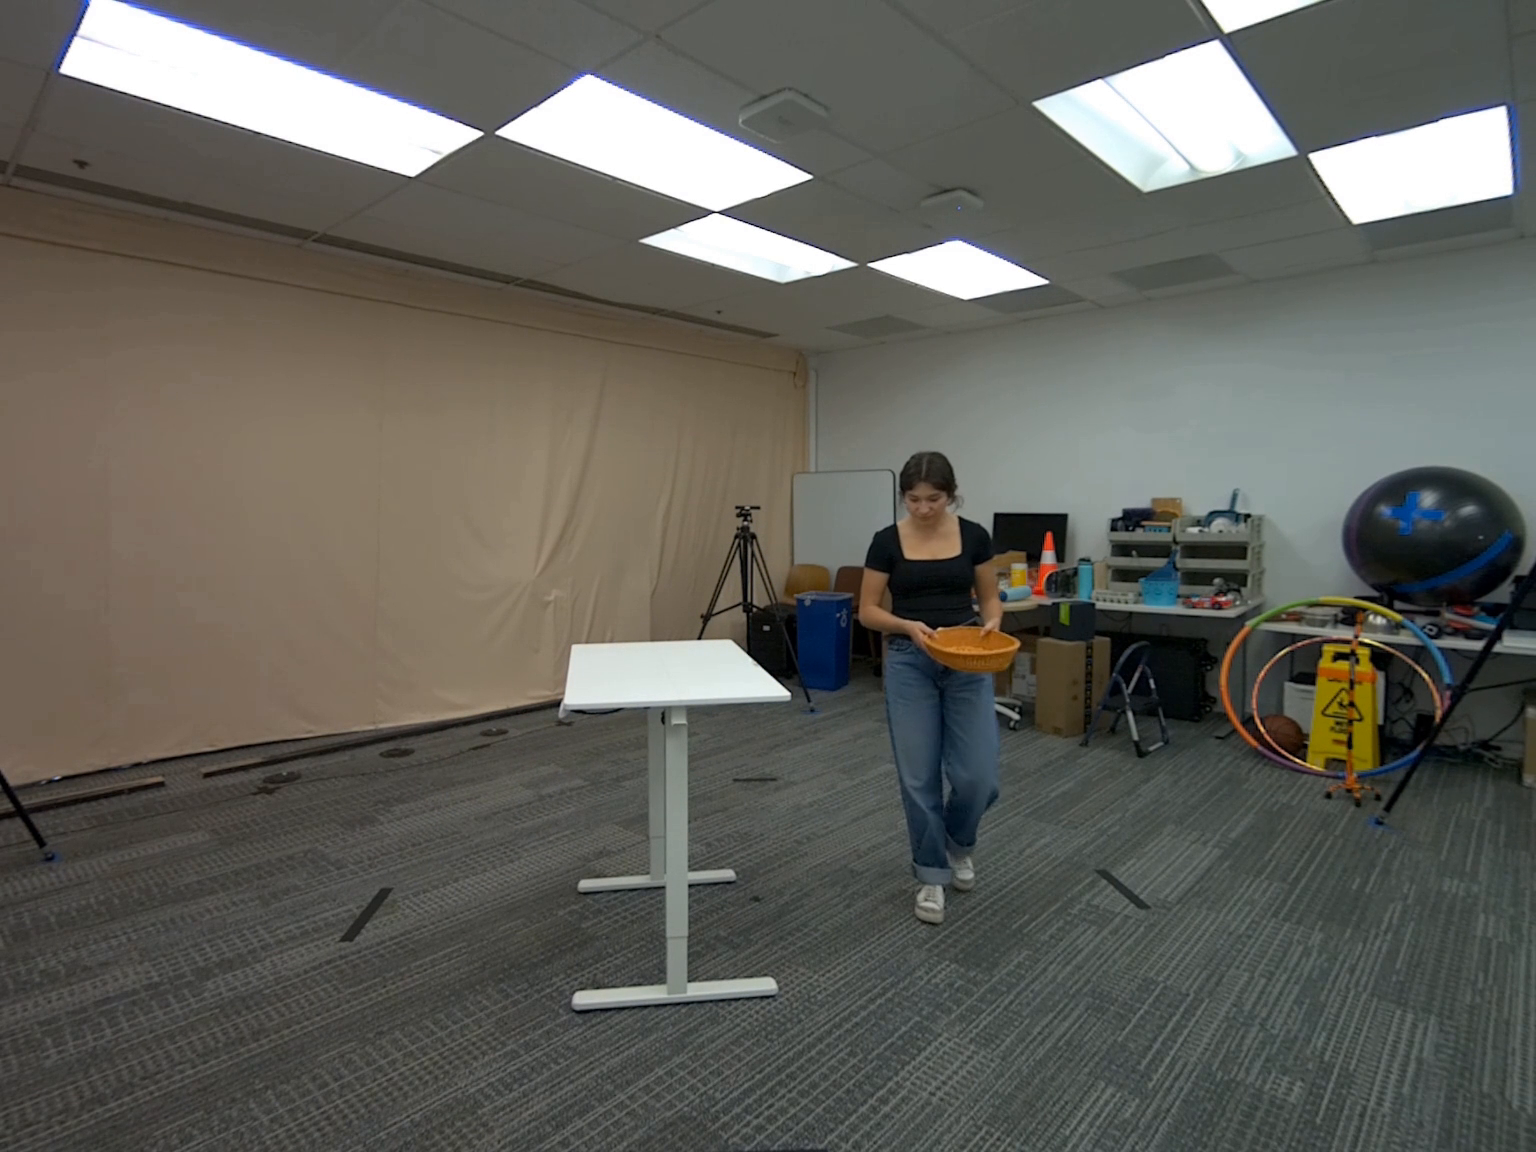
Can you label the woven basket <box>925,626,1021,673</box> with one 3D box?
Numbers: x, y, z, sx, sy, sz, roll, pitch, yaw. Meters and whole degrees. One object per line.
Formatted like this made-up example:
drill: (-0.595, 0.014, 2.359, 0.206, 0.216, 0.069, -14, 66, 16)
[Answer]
woven basket: (0.629, 0.234, 2.611, 0.252, 0.073, 0.353, -5, 8, -3)
